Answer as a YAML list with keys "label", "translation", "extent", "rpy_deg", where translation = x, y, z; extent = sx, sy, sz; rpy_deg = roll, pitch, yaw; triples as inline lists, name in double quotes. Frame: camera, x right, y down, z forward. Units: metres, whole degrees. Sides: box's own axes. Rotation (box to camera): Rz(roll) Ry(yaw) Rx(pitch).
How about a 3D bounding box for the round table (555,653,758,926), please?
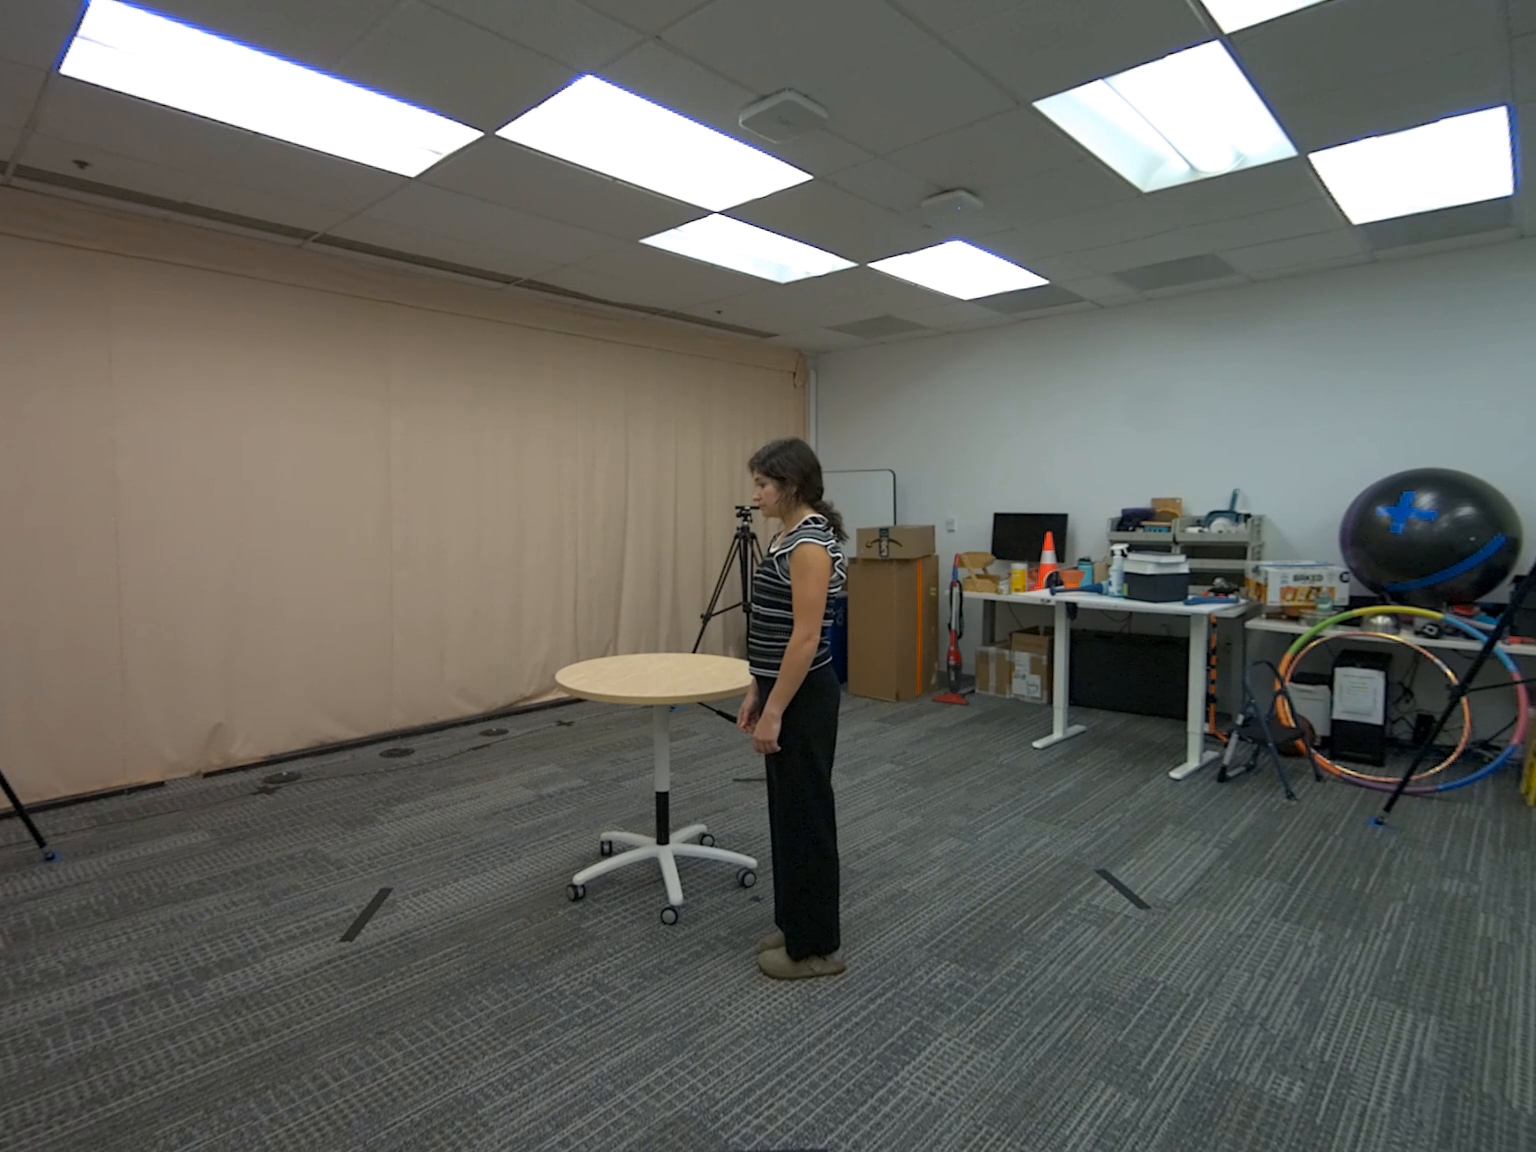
- label: "round table"
  translation: [-0.395, 0.747, 3.127]
  extent: [0.763, 0.792, 0.767]
  rpy_deg: [0, 4, -2]
